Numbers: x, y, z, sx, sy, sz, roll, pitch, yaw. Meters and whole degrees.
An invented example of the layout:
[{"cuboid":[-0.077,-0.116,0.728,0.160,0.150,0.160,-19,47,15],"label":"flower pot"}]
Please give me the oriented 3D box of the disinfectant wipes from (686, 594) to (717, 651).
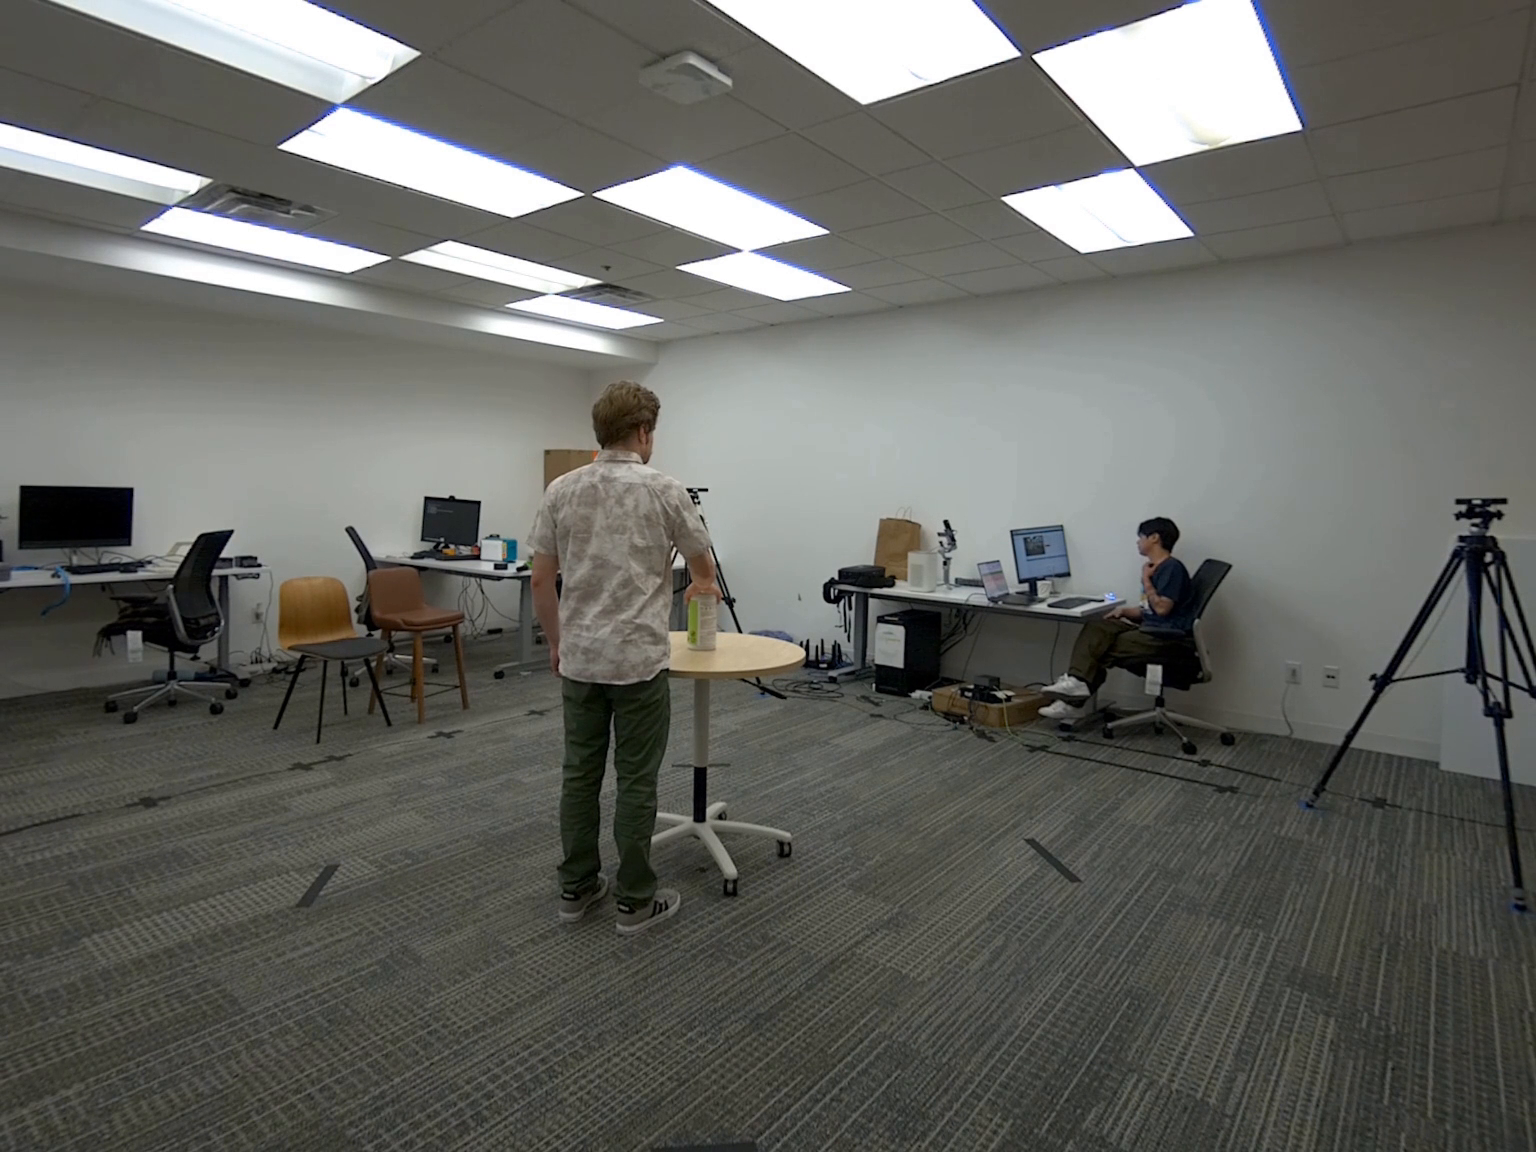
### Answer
[{"cuboid":[-0.253,0.165,3.185,0.118,0.217,0.118,0,2,-2],"label":"disinfectant wipes"}]
